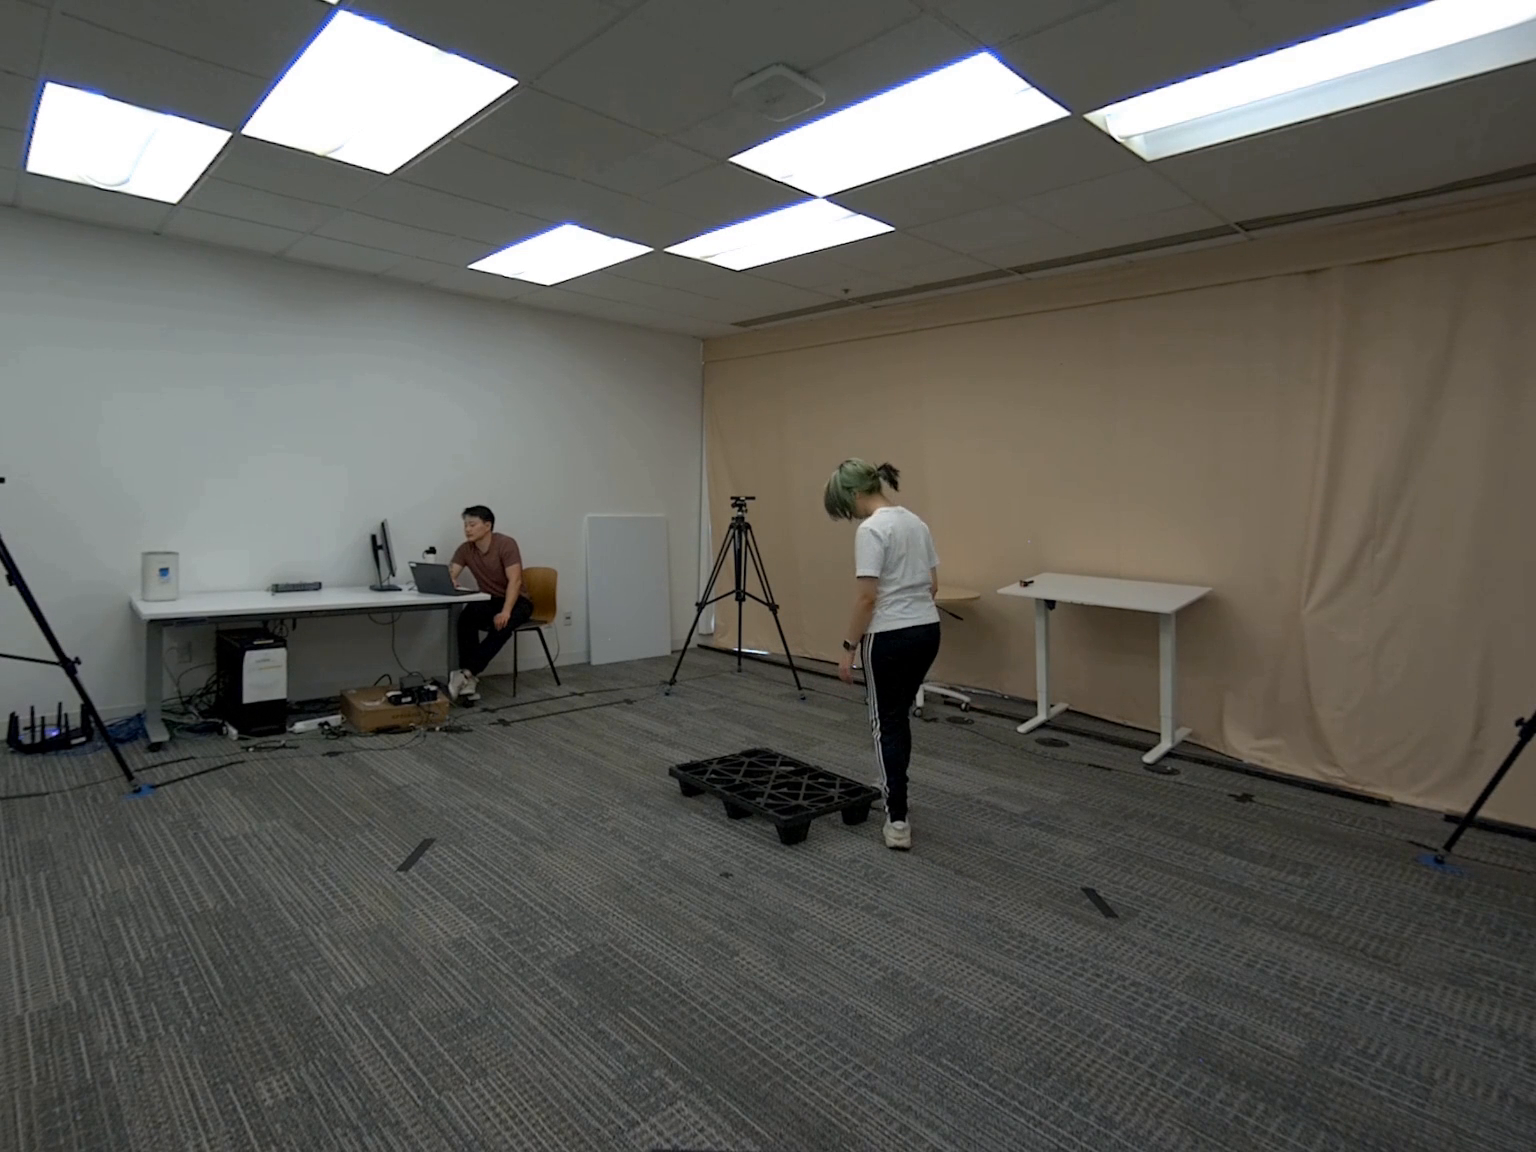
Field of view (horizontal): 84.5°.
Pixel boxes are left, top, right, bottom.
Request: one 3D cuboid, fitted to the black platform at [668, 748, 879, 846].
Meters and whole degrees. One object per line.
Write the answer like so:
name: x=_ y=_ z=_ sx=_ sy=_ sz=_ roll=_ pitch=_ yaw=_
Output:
black platform: x=0.007 y=0.980 z=3.805 sx=0.591 sy=0.143 sz=0.826 roll=-3 pitch=7 yaw=-40
